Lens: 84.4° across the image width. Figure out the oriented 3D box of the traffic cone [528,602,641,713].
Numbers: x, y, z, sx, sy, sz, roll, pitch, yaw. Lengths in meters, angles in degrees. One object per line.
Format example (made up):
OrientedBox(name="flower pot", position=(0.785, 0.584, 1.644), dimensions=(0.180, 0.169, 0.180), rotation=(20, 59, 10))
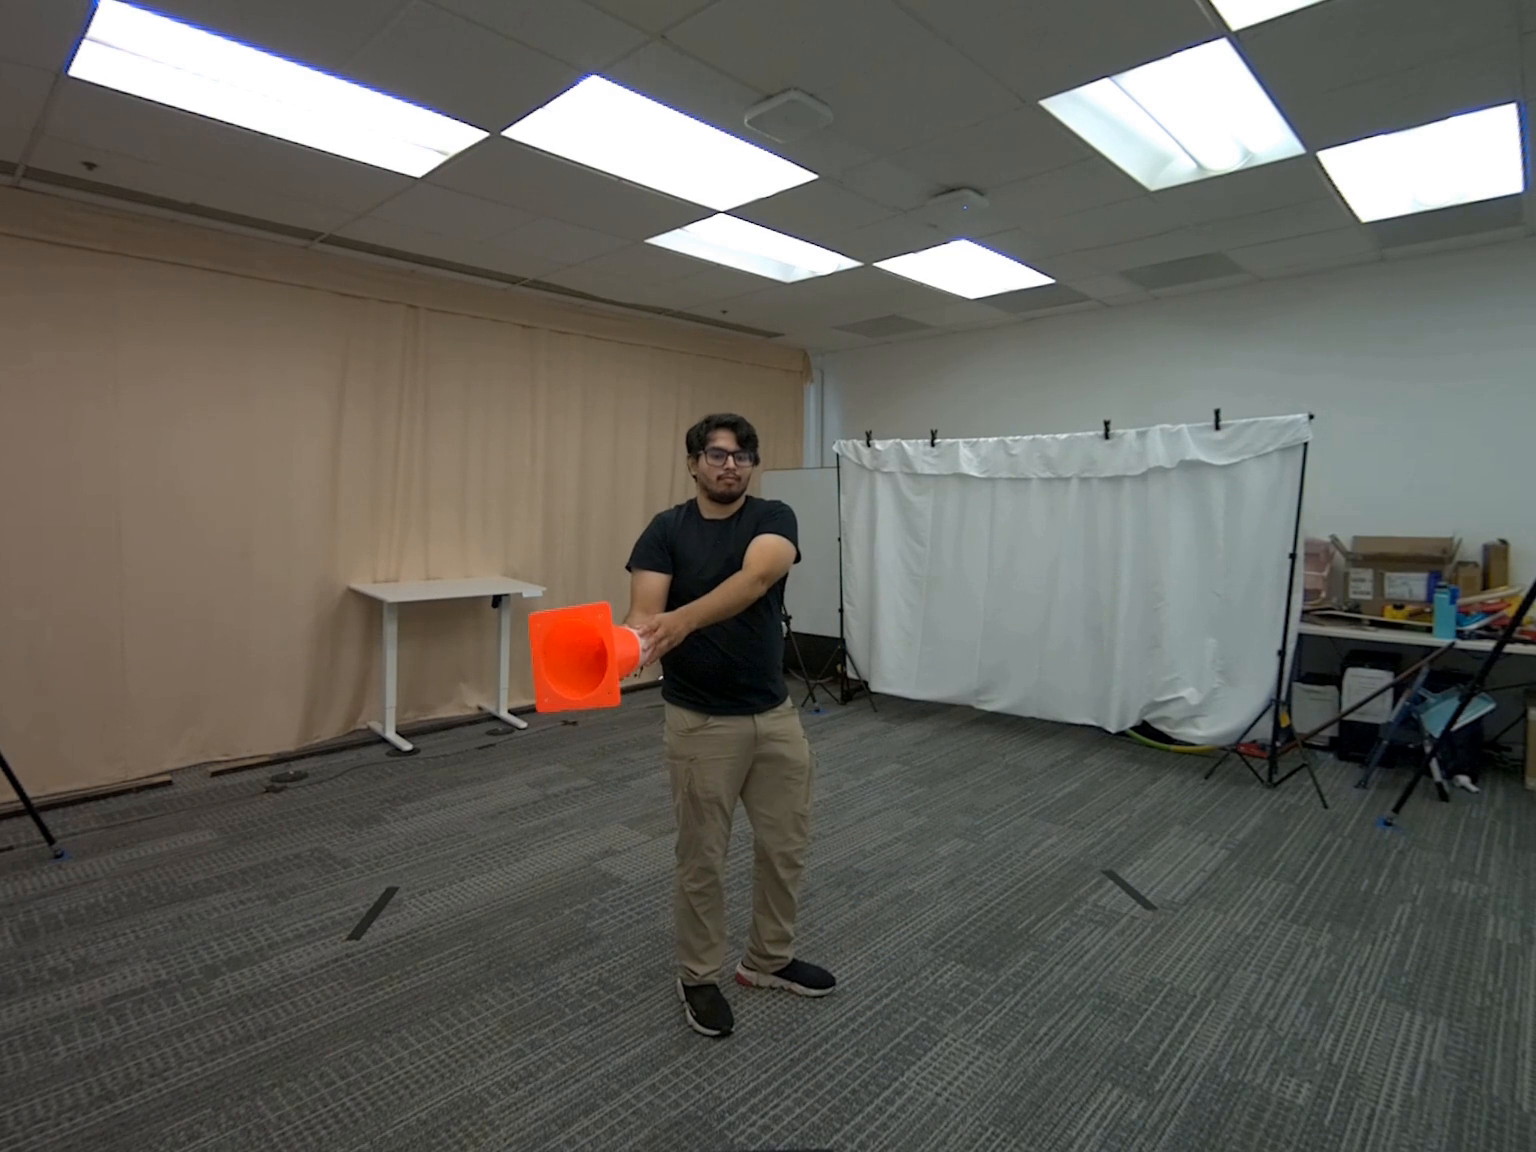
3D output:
OrientedBox(name="traffic cone", position=(-0.294, 0.181, 1.795), dimensions=(0.207, 0.206, 0.375), rotation=(-7, -5, 17))
